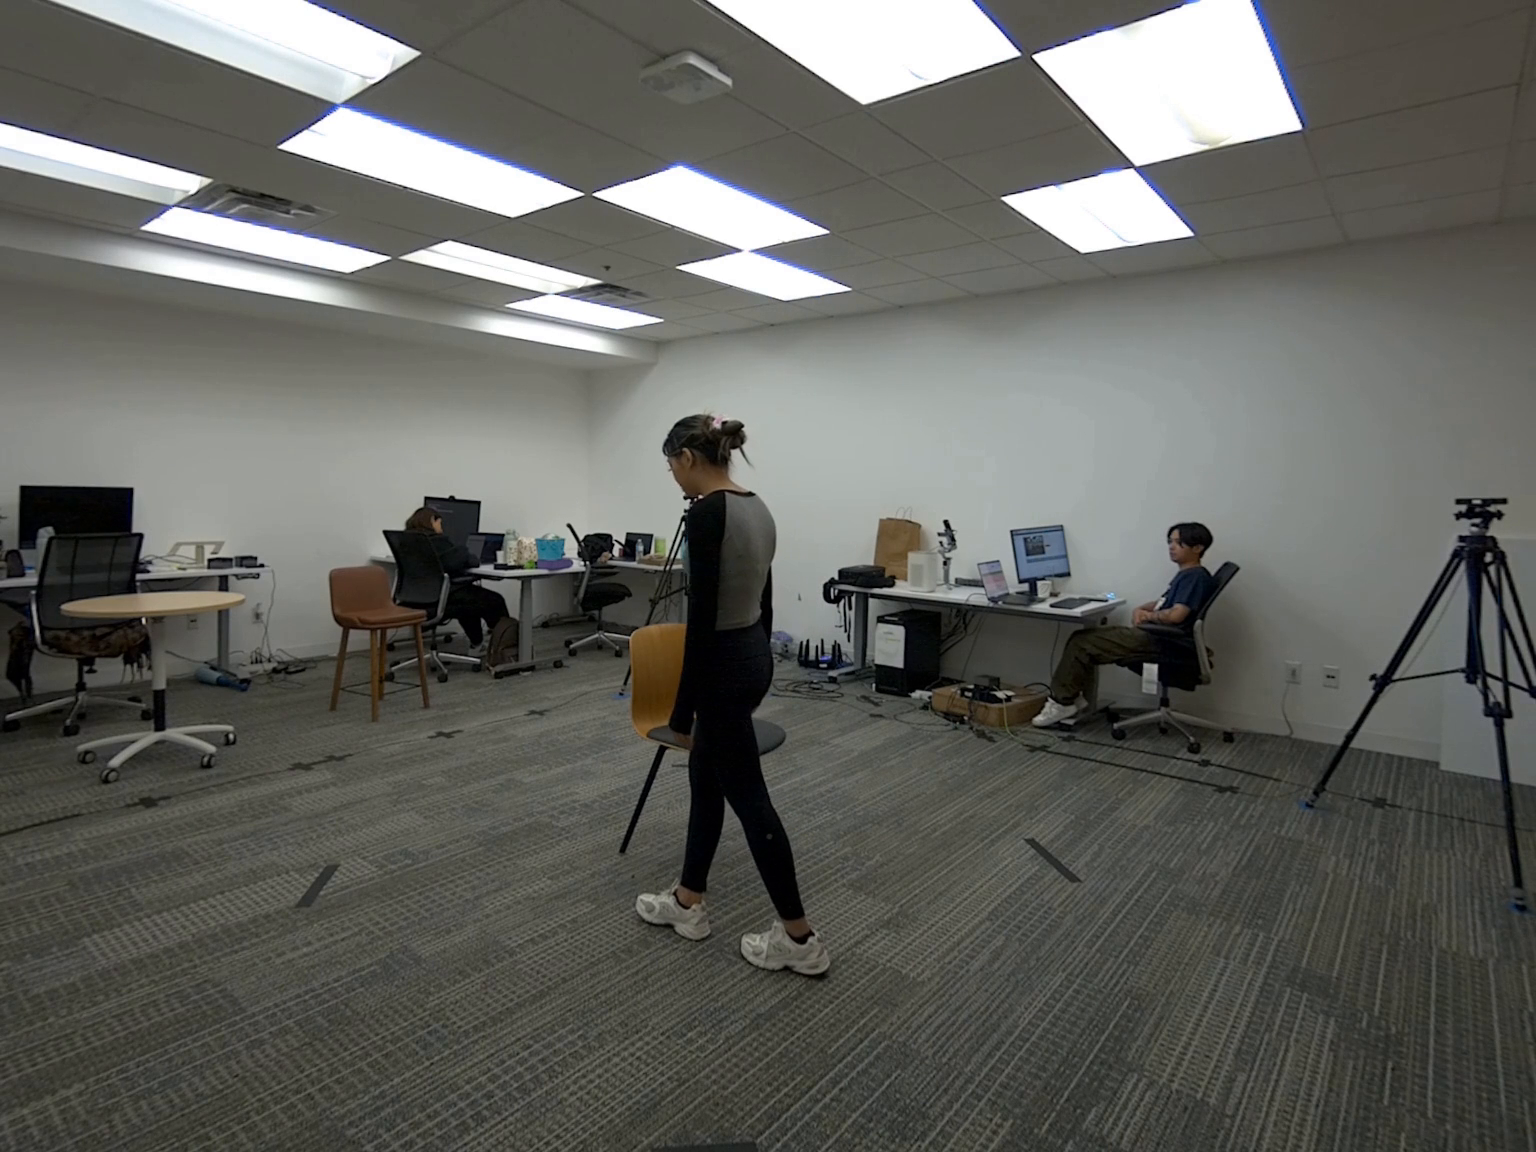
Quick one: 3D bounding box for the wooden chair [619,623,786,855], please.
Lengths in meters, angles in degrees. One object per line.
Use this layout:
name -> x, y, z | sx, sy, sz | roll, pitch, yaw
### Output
wooden chair -> -0.239, 0.627, 3.205 | 0.539, 0.878, 0.463 | -2, 0, 42
